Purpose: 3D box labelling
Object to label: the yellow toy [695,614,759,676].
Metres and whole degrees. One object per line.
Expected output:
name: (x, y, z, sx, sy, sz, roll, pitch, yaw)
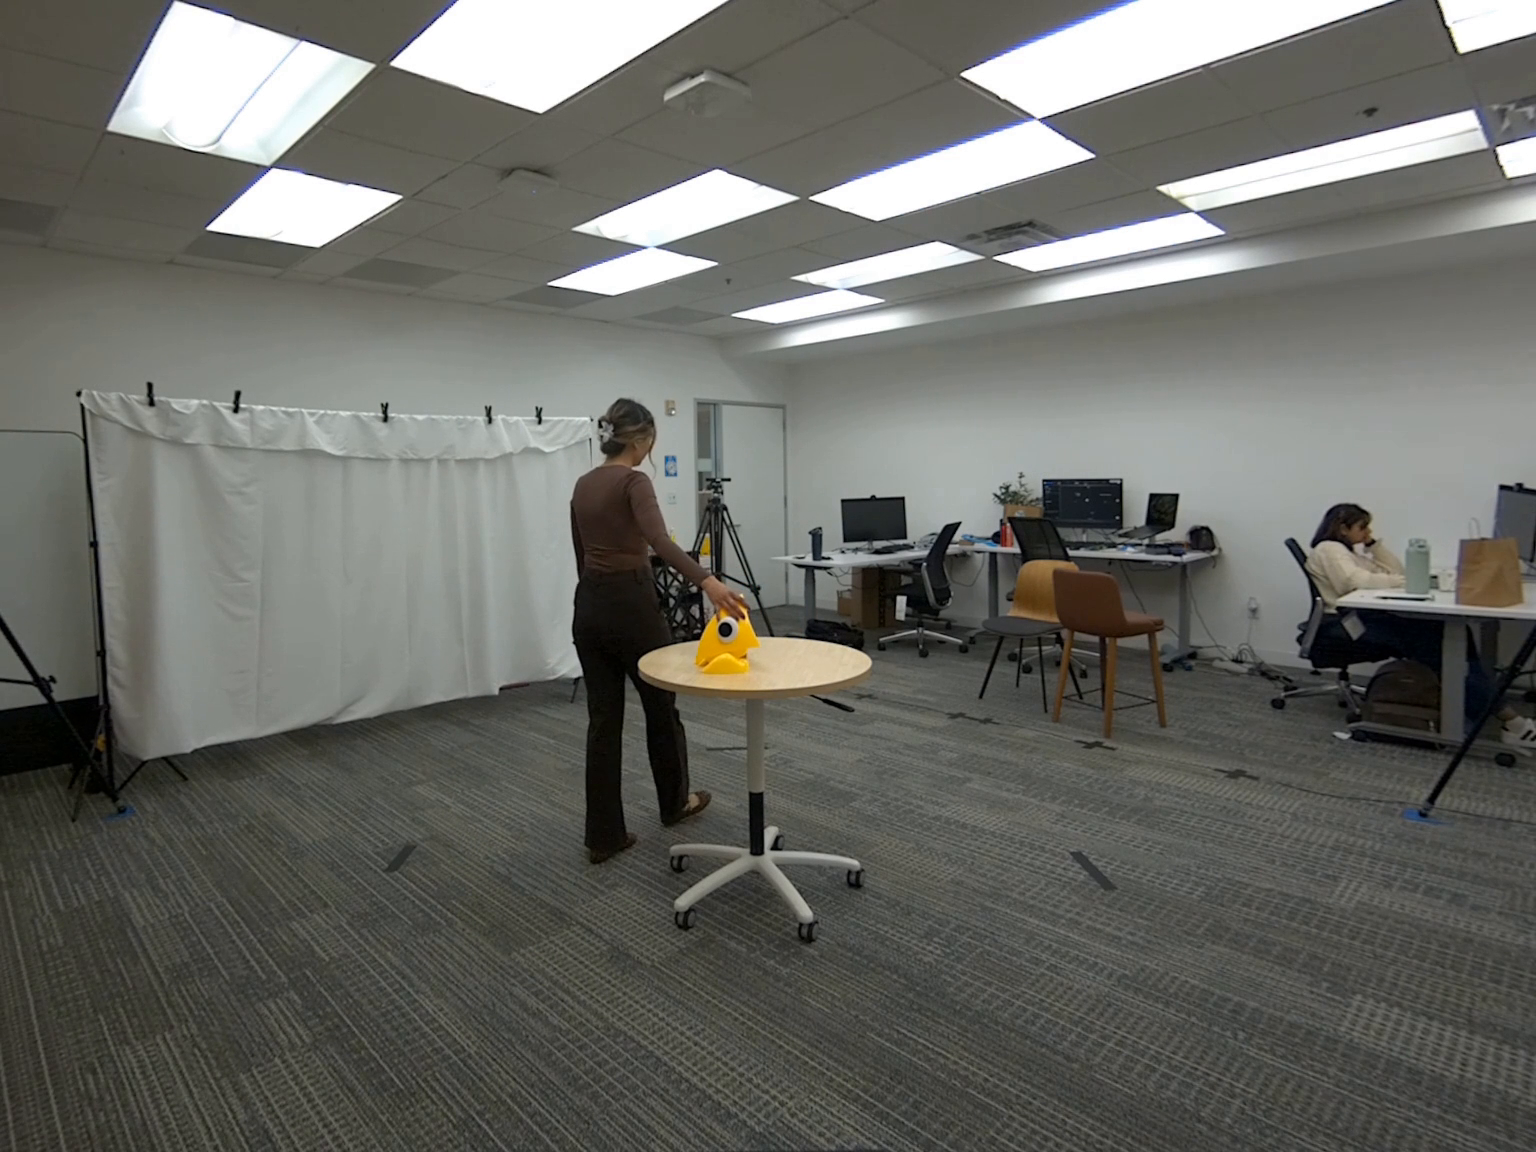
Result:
yellow toy: (-0.134, 0.178, 2.727, 0.190, 0.229, 0.209, -2, 6, -16)
